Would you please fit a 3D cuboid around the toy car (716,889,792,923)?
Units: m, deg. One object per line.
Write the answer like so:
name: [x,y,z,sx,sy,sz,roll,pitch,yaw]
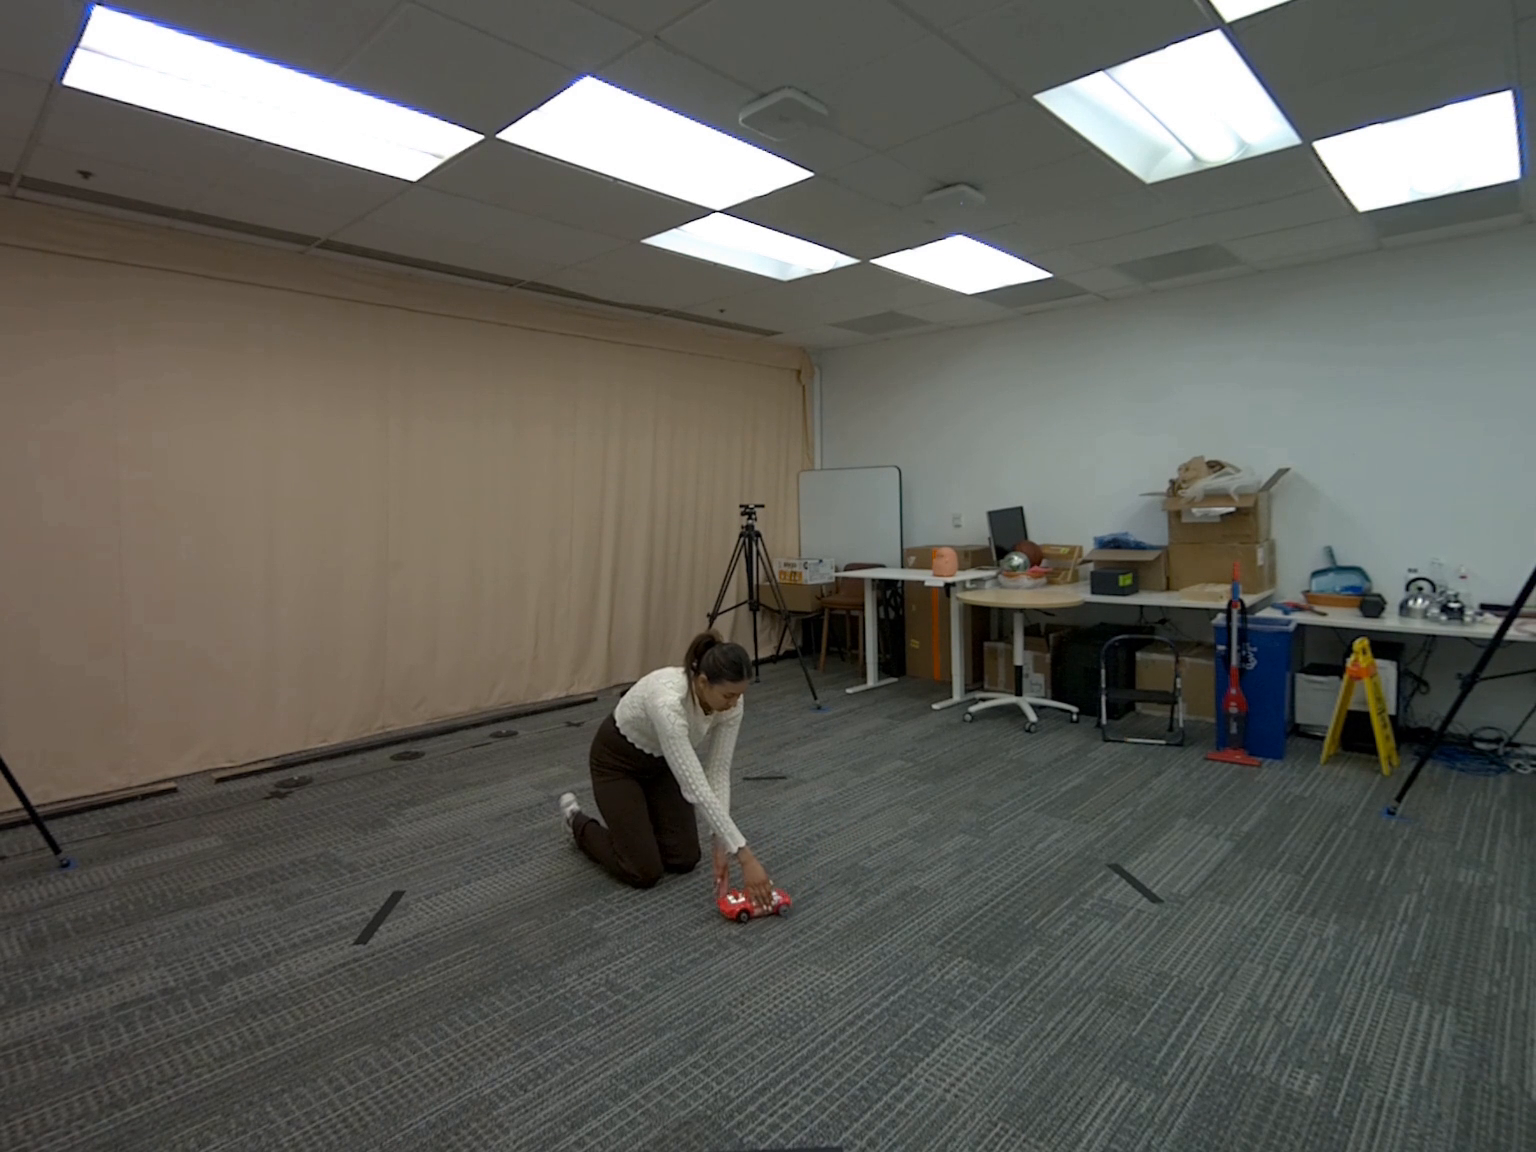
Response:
toy car: [-0.052,1.119,2.867,0.249,0.083,0.133,9,-1,-19]
